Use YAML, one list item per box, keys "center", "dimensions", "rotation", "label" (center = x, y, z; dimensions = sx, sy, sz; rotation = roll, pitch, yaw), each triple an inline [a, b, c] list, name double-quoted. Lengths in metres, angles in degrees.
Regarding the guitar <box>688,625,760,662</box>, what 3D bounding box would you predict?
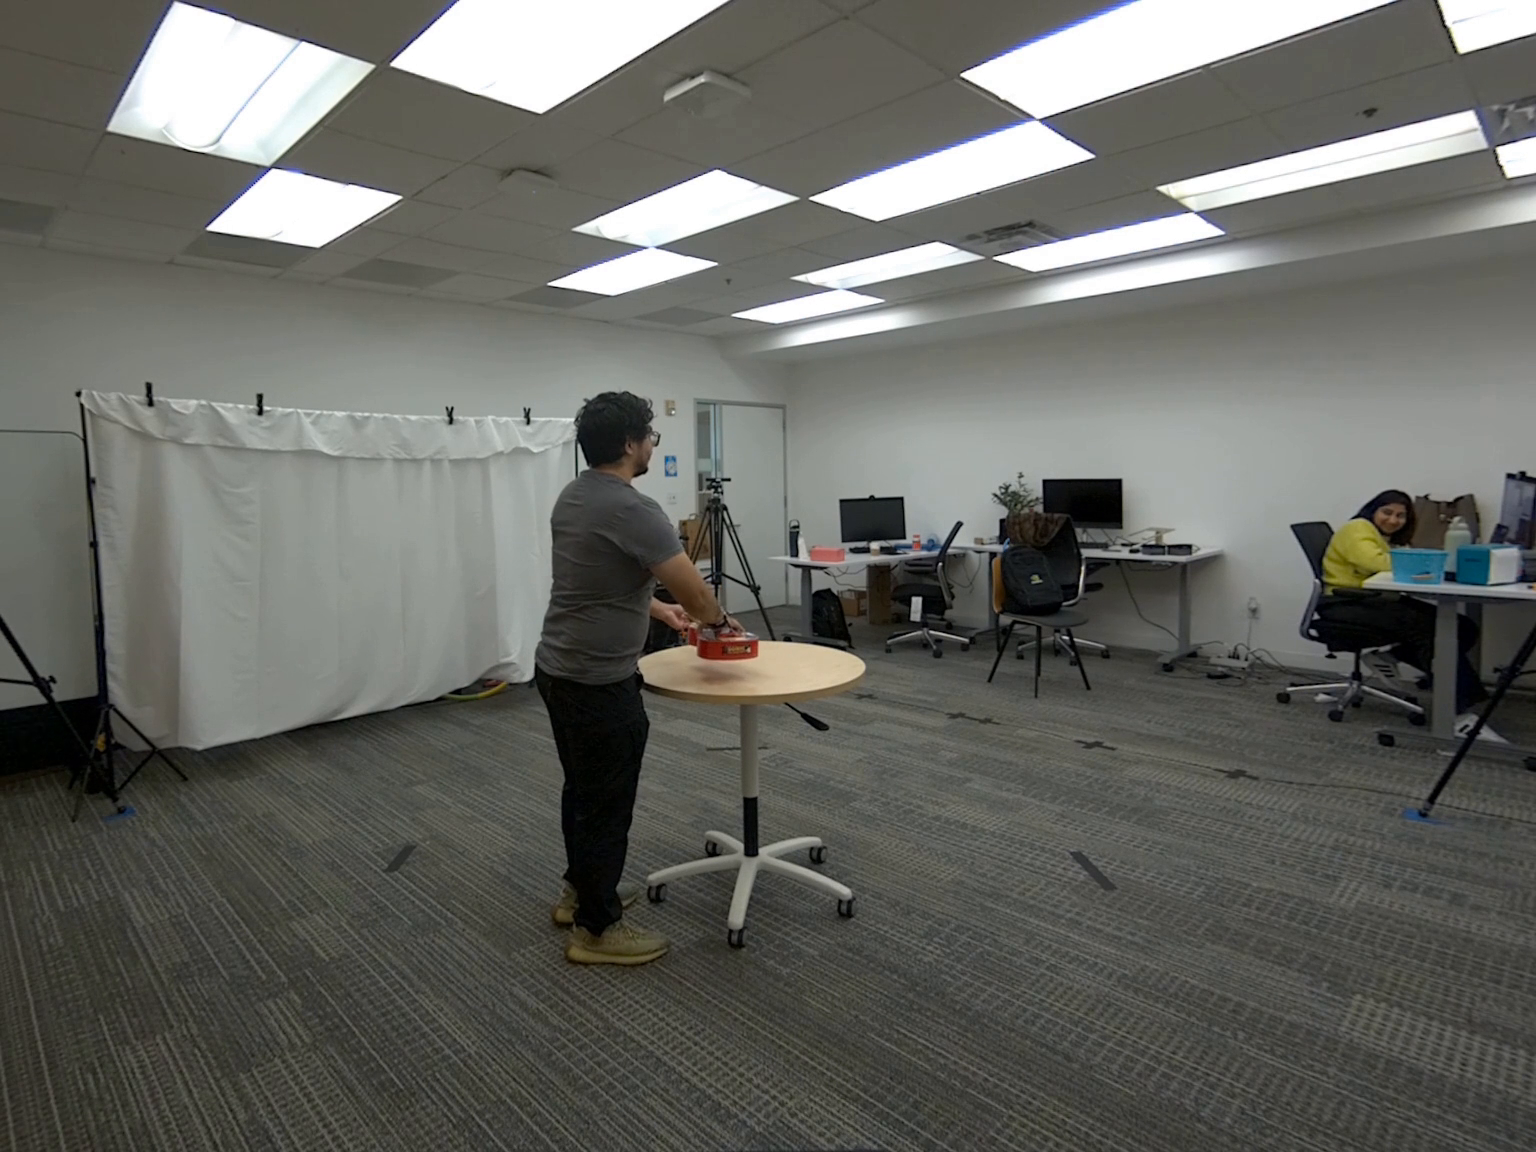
- center: [-0.163, 0.179, 2.806]
  dimensions: [0.191, 0.070, 0.507]
  rotation: [2, 9, -13]
  label: "guitar"
